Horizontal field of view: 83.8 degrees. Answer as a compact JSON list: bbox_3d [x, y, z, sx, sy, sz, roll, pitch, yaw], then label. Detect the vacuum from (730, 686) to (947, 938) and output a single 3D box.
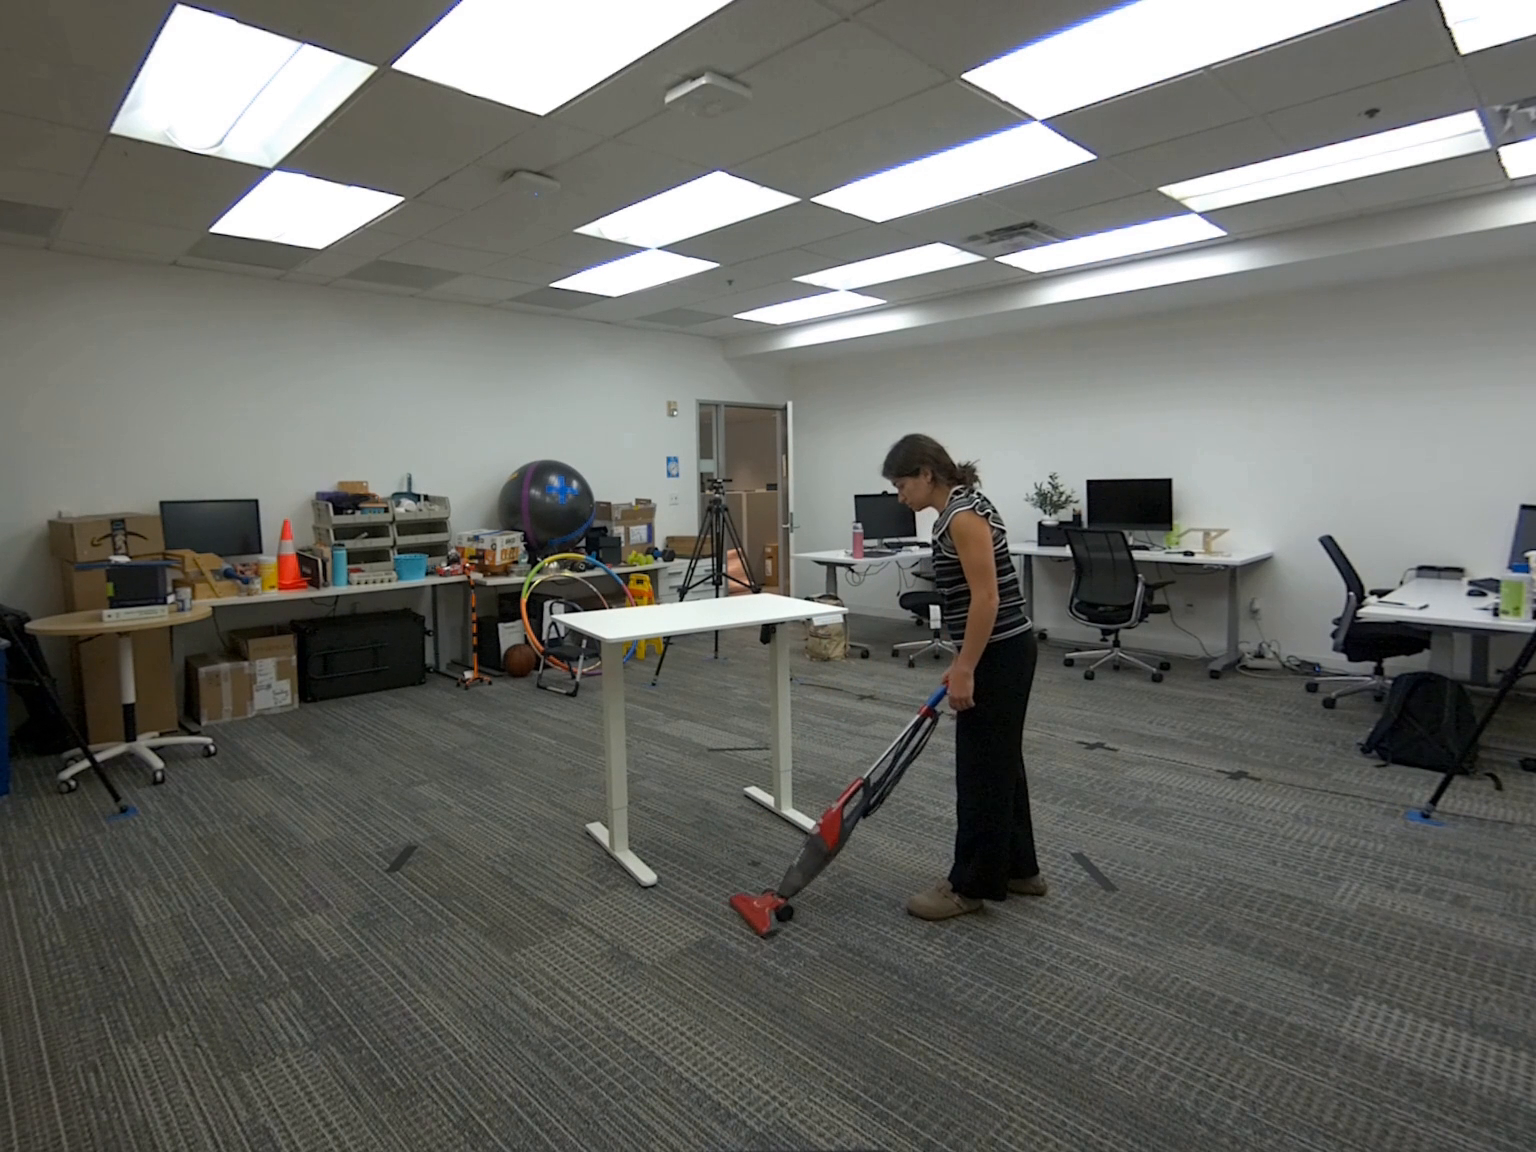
[{"bbox_3d":[0.337,0.743,2.863,1.047,0.140,0.260,-41,24,-16],"label":"vacuum"}]
